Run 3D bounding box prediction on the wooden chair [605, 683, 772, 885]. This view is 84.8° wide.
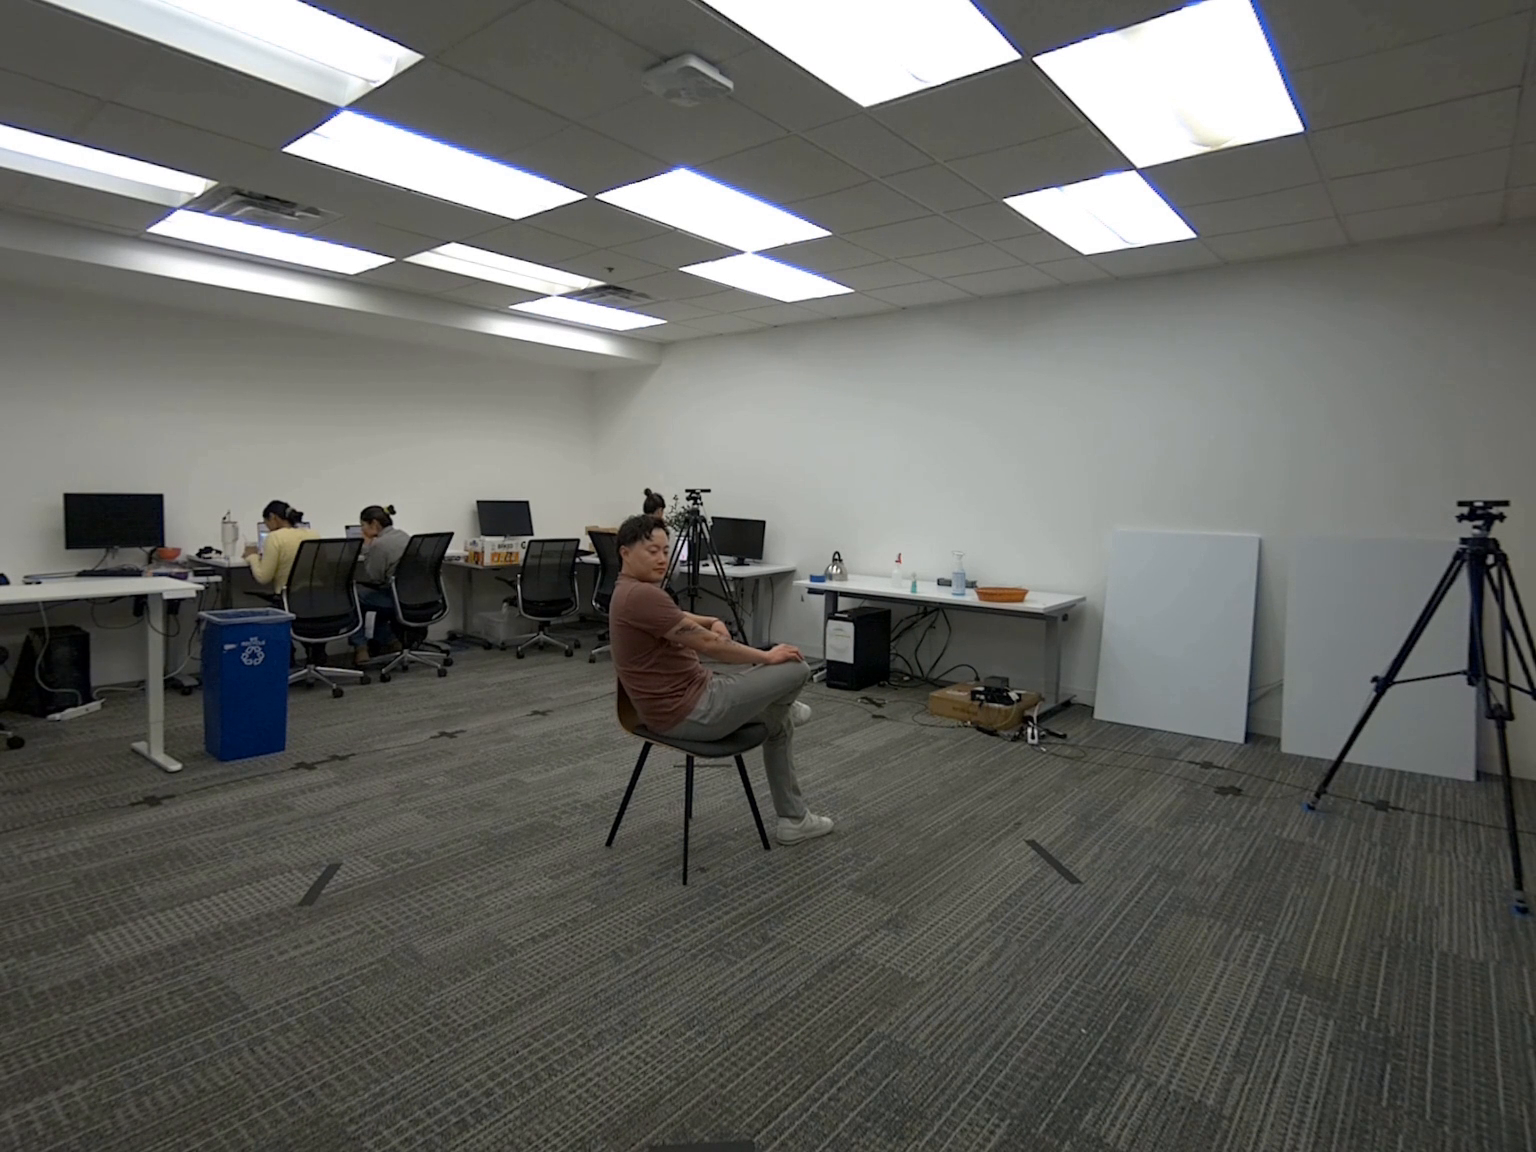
[{"bbox_3d":[-0.309,0.630,3.269,0.539,0.877,0.463,-2,0,44],"label":"wooden chair"}]
